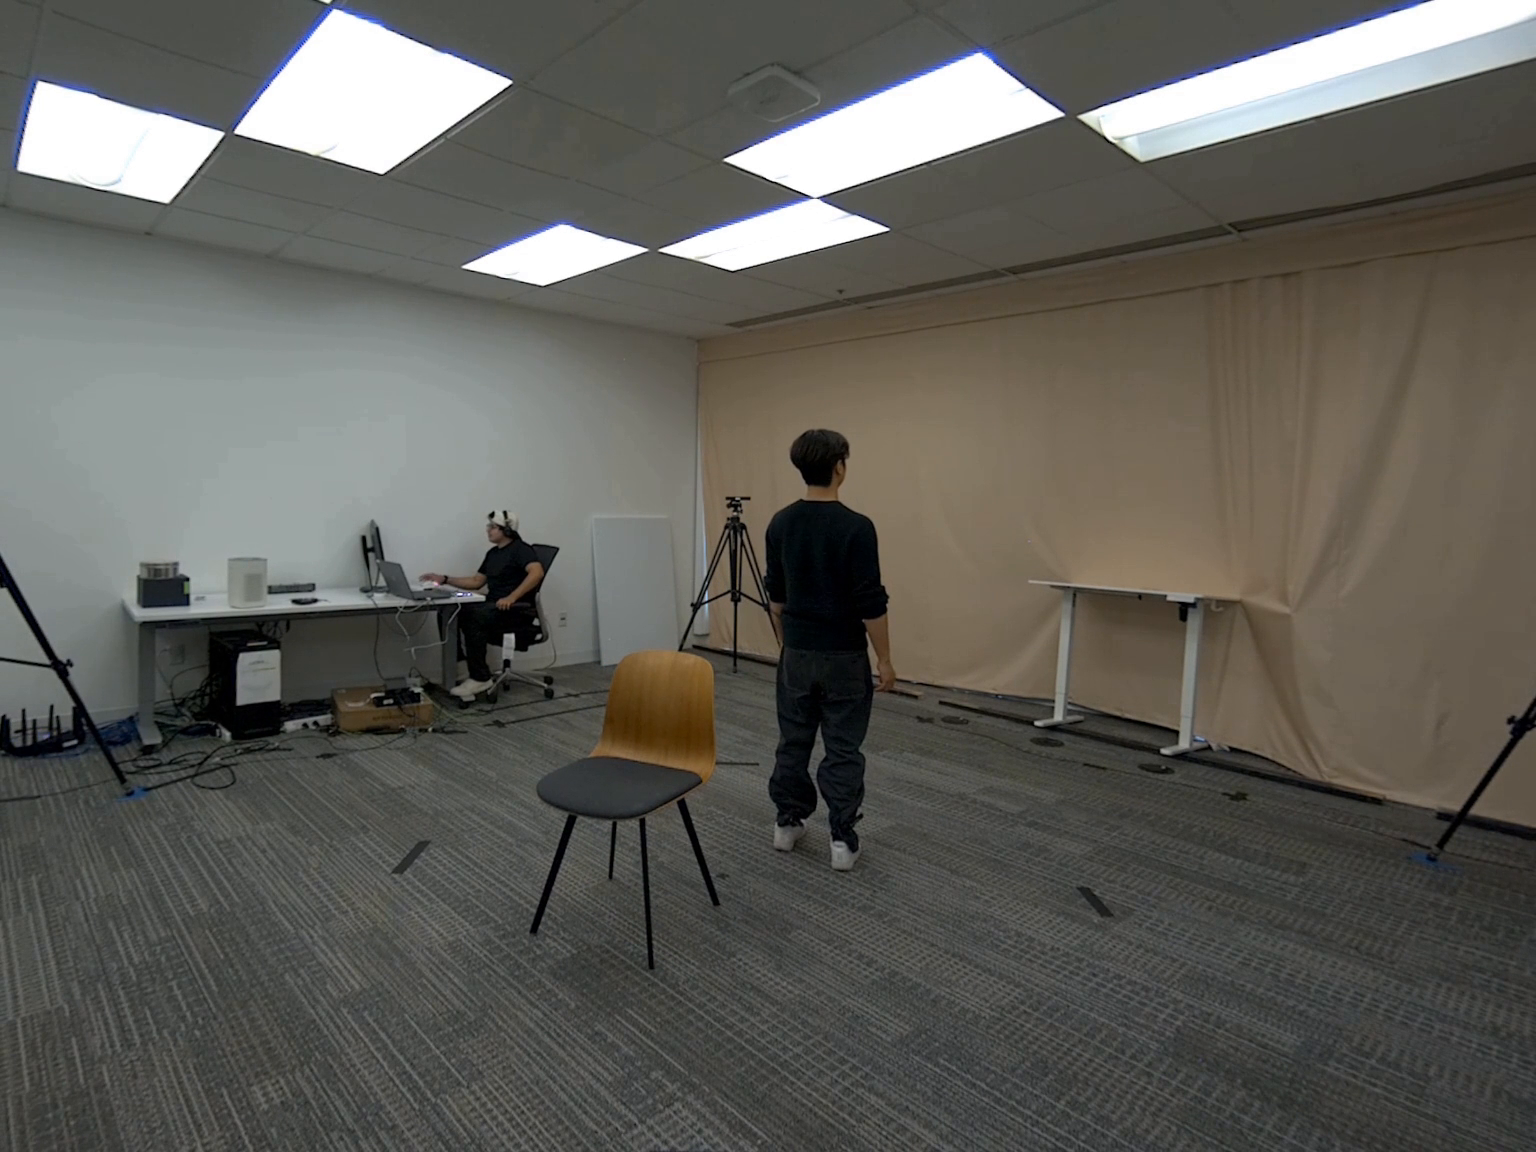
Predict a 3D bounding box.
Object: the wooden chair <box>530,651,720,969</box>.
[{"bbox_3d":[-0.452,0.706,2.731,0.487,0.878,0.513,3,0,25],"label":"wooden chair"}]
